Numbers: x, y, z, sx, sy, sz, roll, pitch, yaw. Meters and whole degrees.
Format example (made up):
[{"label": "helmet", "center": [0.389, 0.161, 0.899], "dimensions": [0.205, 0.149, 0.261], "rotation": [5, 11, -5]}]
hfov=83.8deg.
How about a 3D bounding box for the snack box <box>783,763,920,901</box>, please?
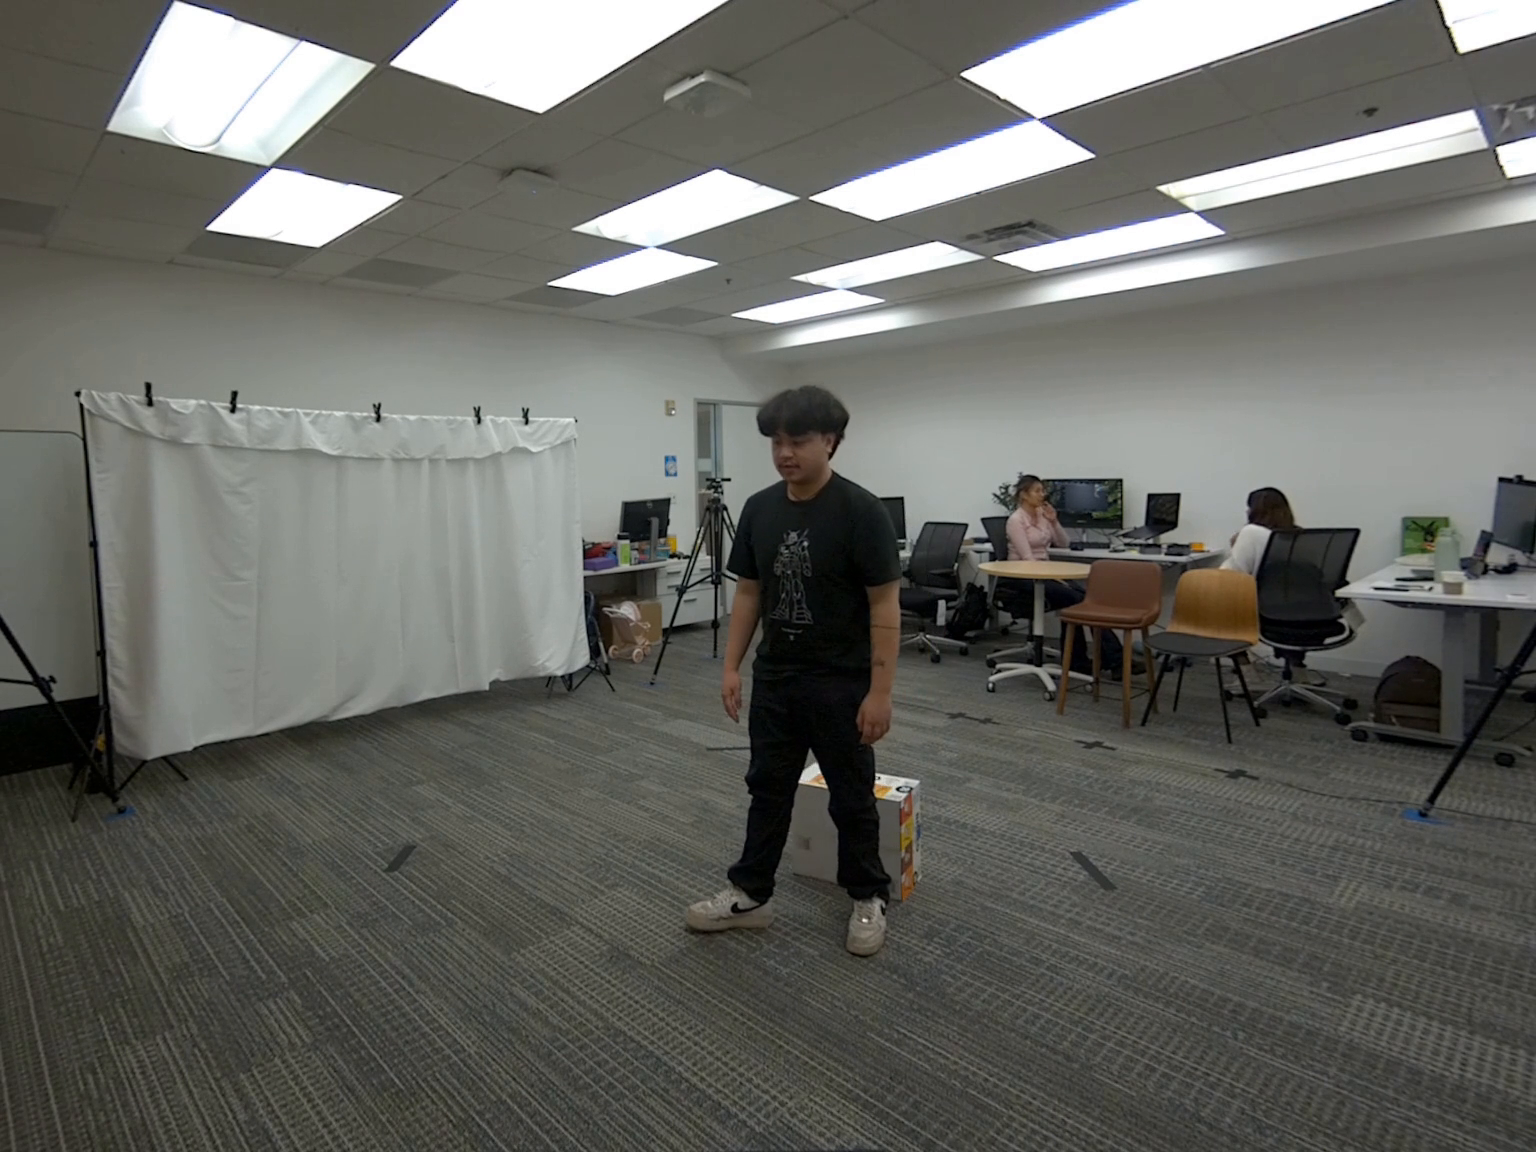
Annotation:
[{"label": "snack box", "center": [0.308, 0.879, 2.980], "dimensions": [0.416, 0.339, 0.201], "rotation": [1, 5, 31]}]
